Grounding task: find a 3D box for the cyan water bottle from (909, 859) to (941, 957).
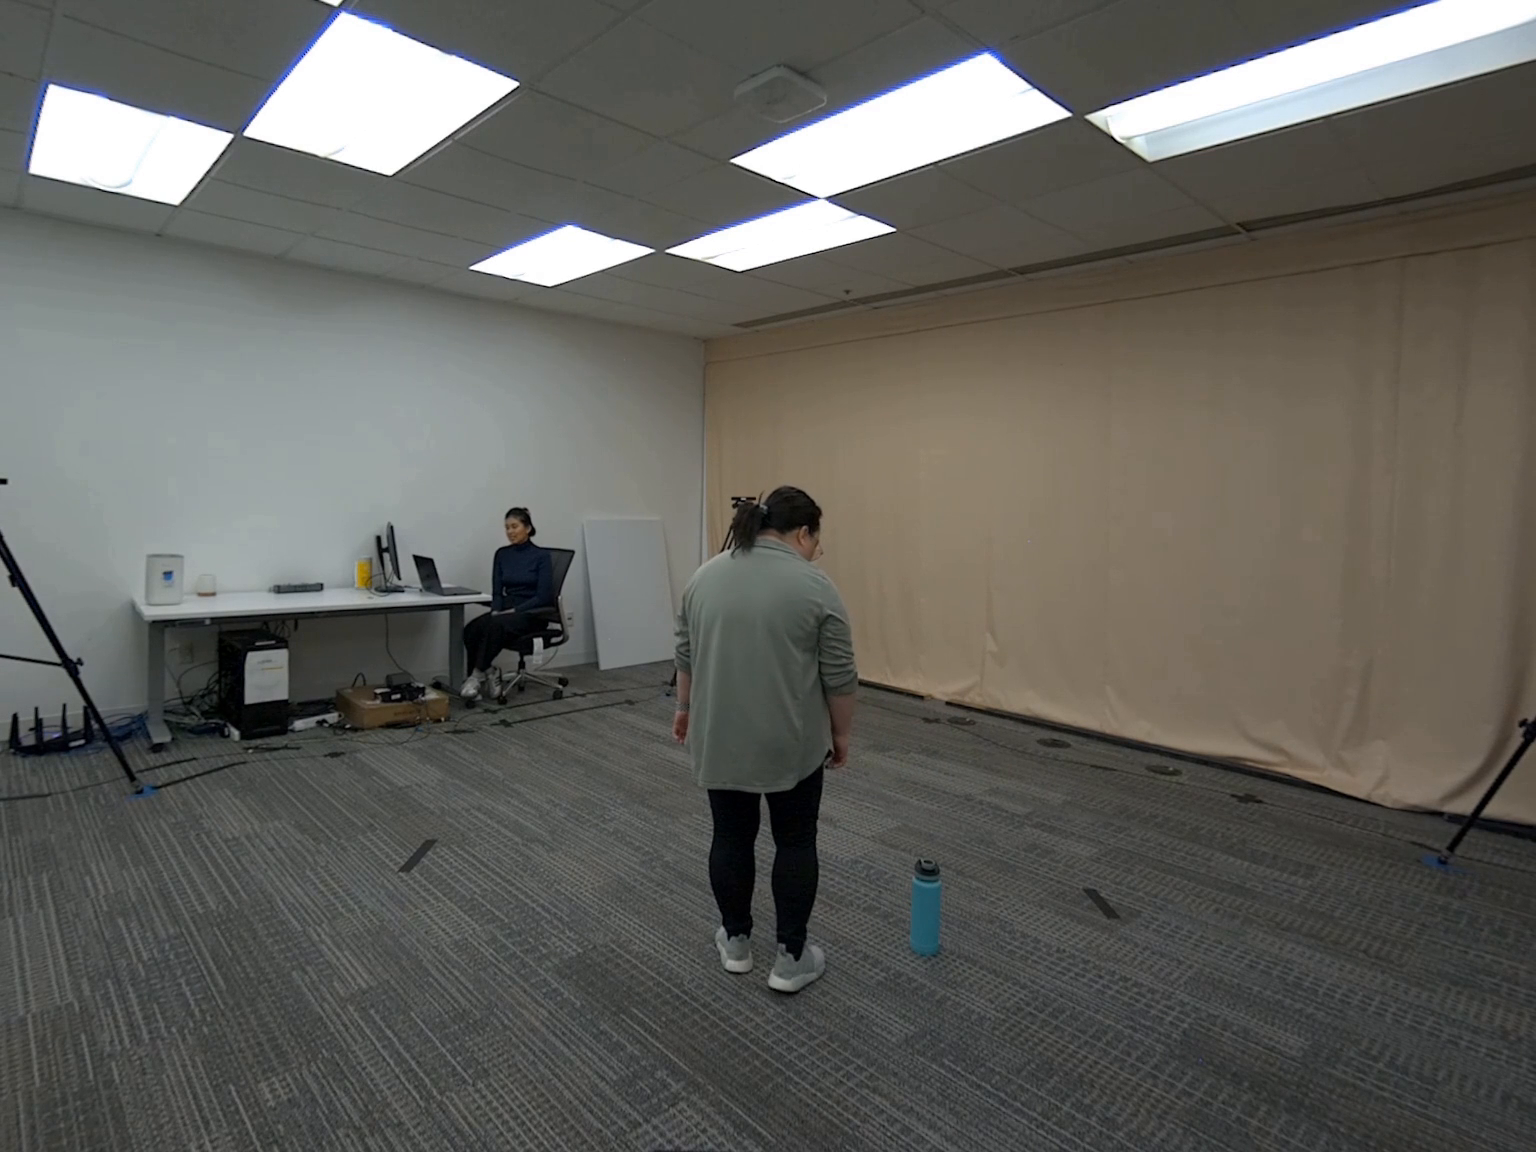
[{"bbox_3d":[0.486,1.029,2.622,0.092,0.283,0.092,3,3,-2],"label":"cyan water bottle"}]
